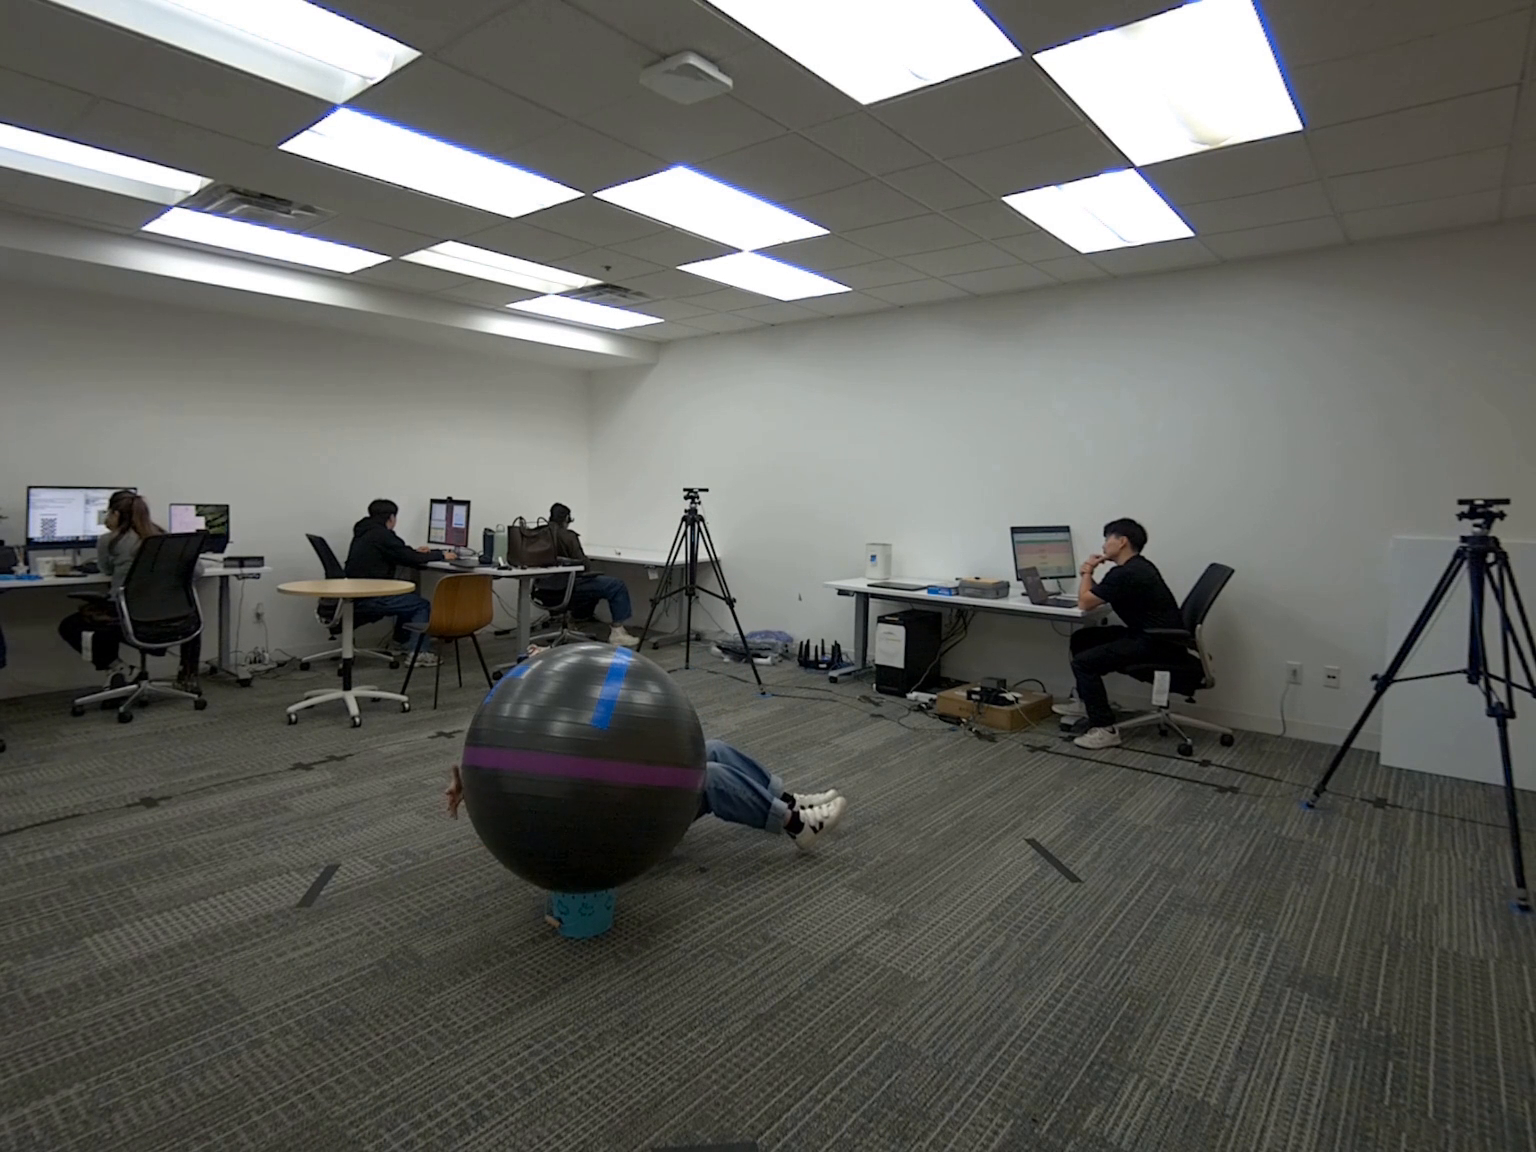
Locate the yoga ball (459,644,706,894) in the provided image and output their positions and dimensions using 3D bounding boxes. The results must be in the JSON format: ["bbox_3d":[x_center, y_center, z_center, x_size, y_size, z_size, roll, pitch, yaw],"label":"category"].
[{"bbox_3d":[-0.591,0.594,2.683,0.757,0.756,0.761,1,4,-2],"label":"yoga ball"}]
